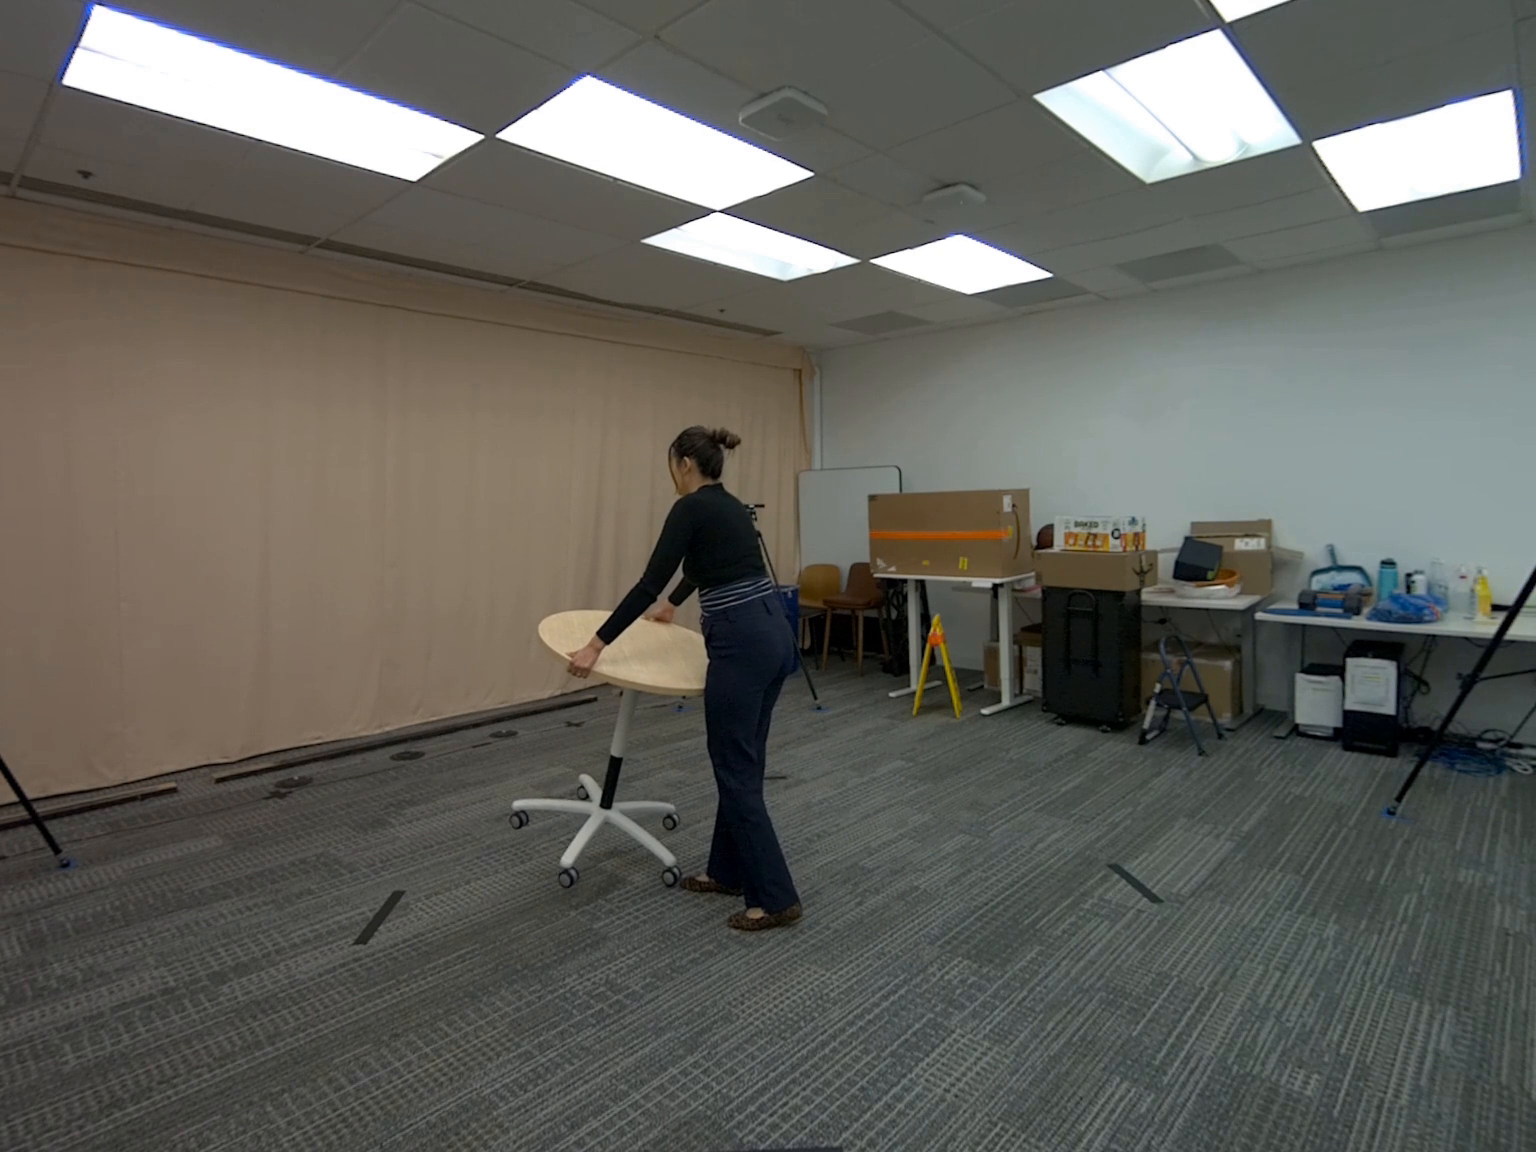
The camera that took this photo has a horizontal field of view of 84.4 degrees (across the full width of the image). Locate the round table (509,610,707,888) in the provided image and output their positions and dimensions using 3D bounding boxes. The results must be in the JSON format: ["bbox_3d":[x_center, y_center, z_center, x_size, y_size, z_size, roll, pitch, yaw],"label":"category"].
[{"bbox_3d":[-0.568,0.641,3.187,0.761,0.791,0.770,13,11,-4],"label":"round table"}]
